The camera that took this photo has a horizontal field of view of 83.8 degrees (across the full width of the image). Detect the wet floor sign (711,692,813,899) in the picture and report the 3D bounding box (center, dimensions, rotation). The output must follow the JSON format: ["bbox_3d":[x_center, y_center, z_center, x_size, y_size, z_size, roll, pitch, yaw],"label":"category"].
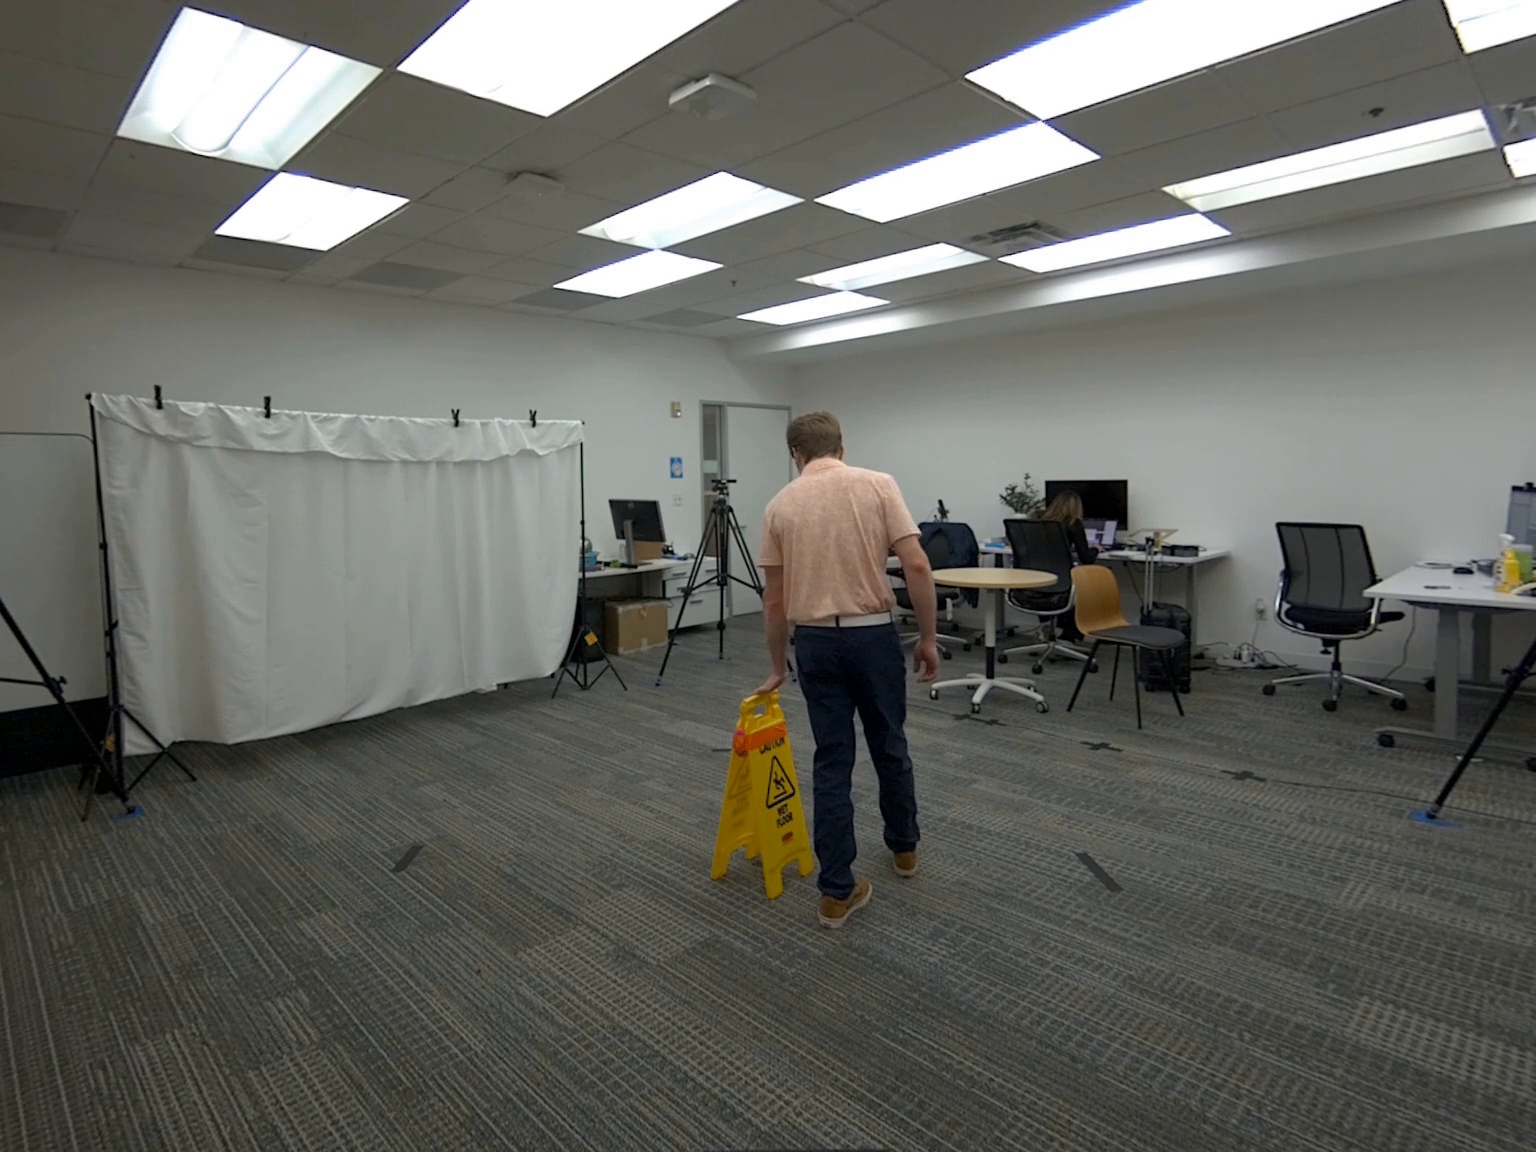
[{"bbox_3d":[-0.022,0.733,3.002,0.298,0.645,0.275,1,3,37],"label":"wet floor sign"}]
